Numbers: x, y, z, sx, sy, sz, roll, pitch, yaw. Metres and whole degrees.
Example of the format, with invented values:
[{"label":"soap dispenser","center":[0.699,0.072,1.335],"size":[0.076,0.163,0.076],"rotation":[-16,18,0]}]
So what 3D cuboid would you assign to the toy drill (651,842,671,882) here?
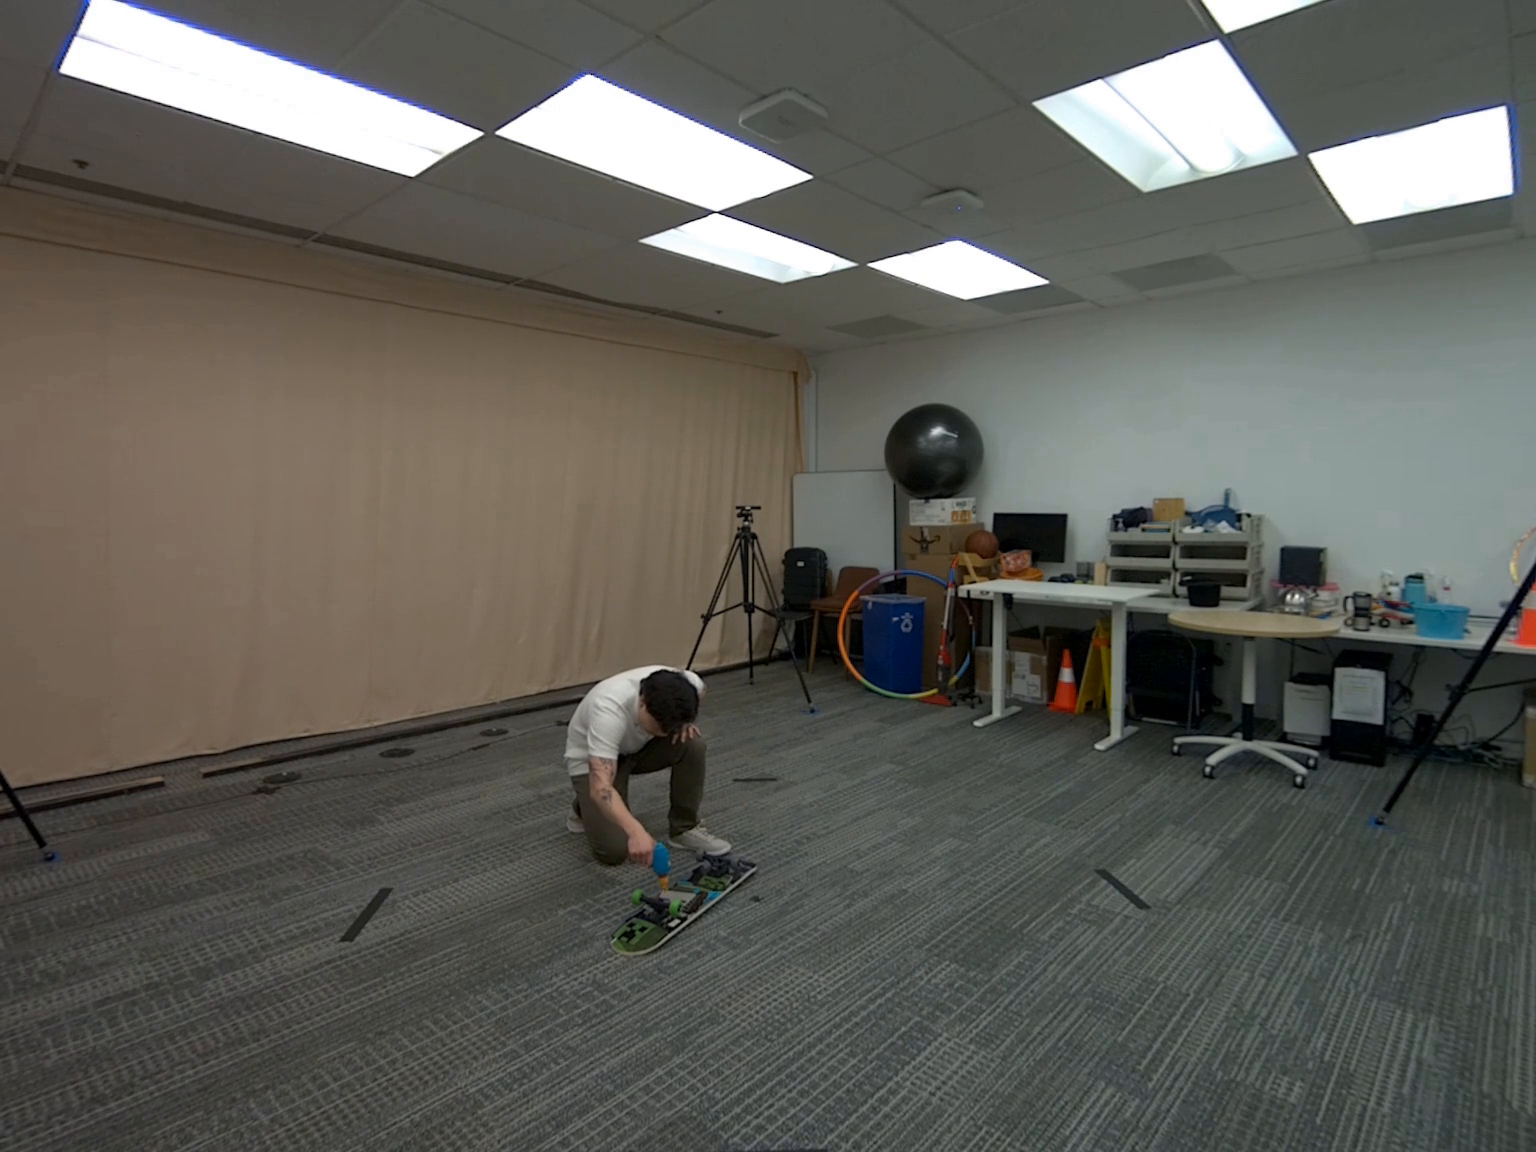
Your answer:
[{"label":"toy drill","center":[-0.384,0.963,2.824],"size":[0.150,0.169,0.060],"rotation":[-1,9,26]}]
